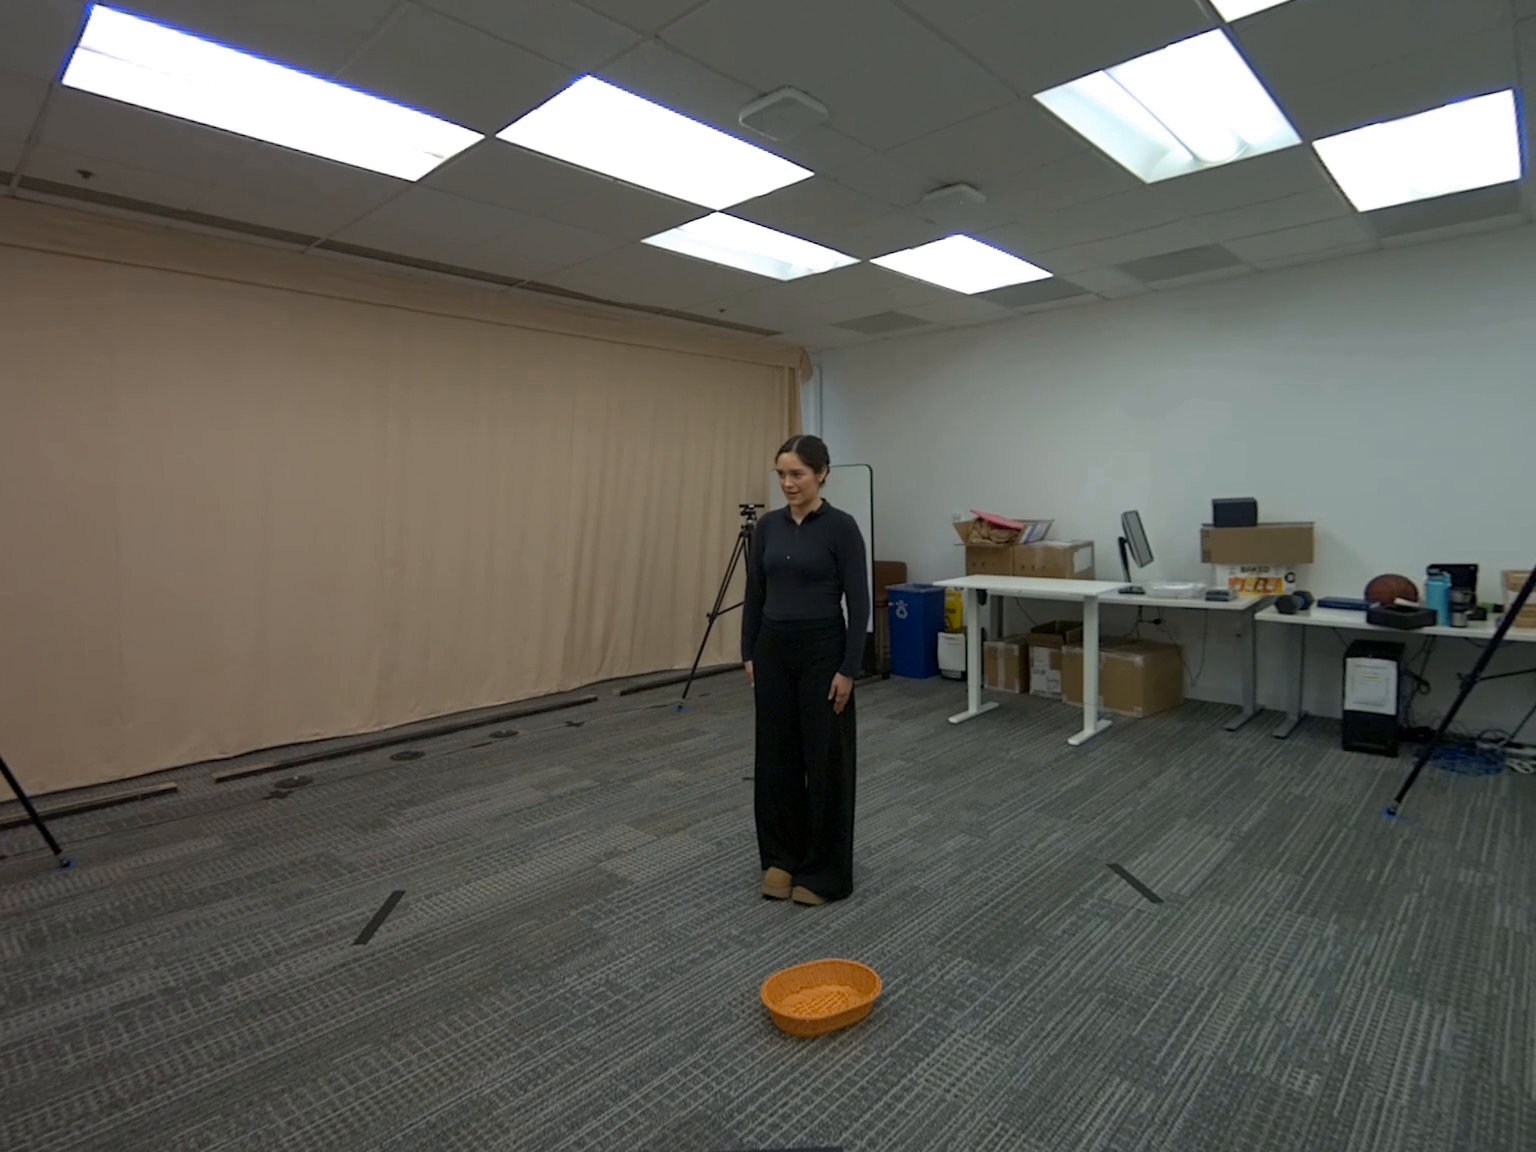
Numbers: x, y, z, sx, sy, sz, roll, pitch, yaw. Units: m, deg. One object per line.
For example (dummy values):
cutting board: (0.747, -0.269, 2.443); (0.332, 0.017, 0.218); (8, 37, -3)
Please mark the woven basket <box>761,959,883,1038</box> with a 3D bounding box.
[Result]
woven basket: (0.144, 1.151, 2.310); (0.342, 0.073, 0.259); (-3, 4, -26)
